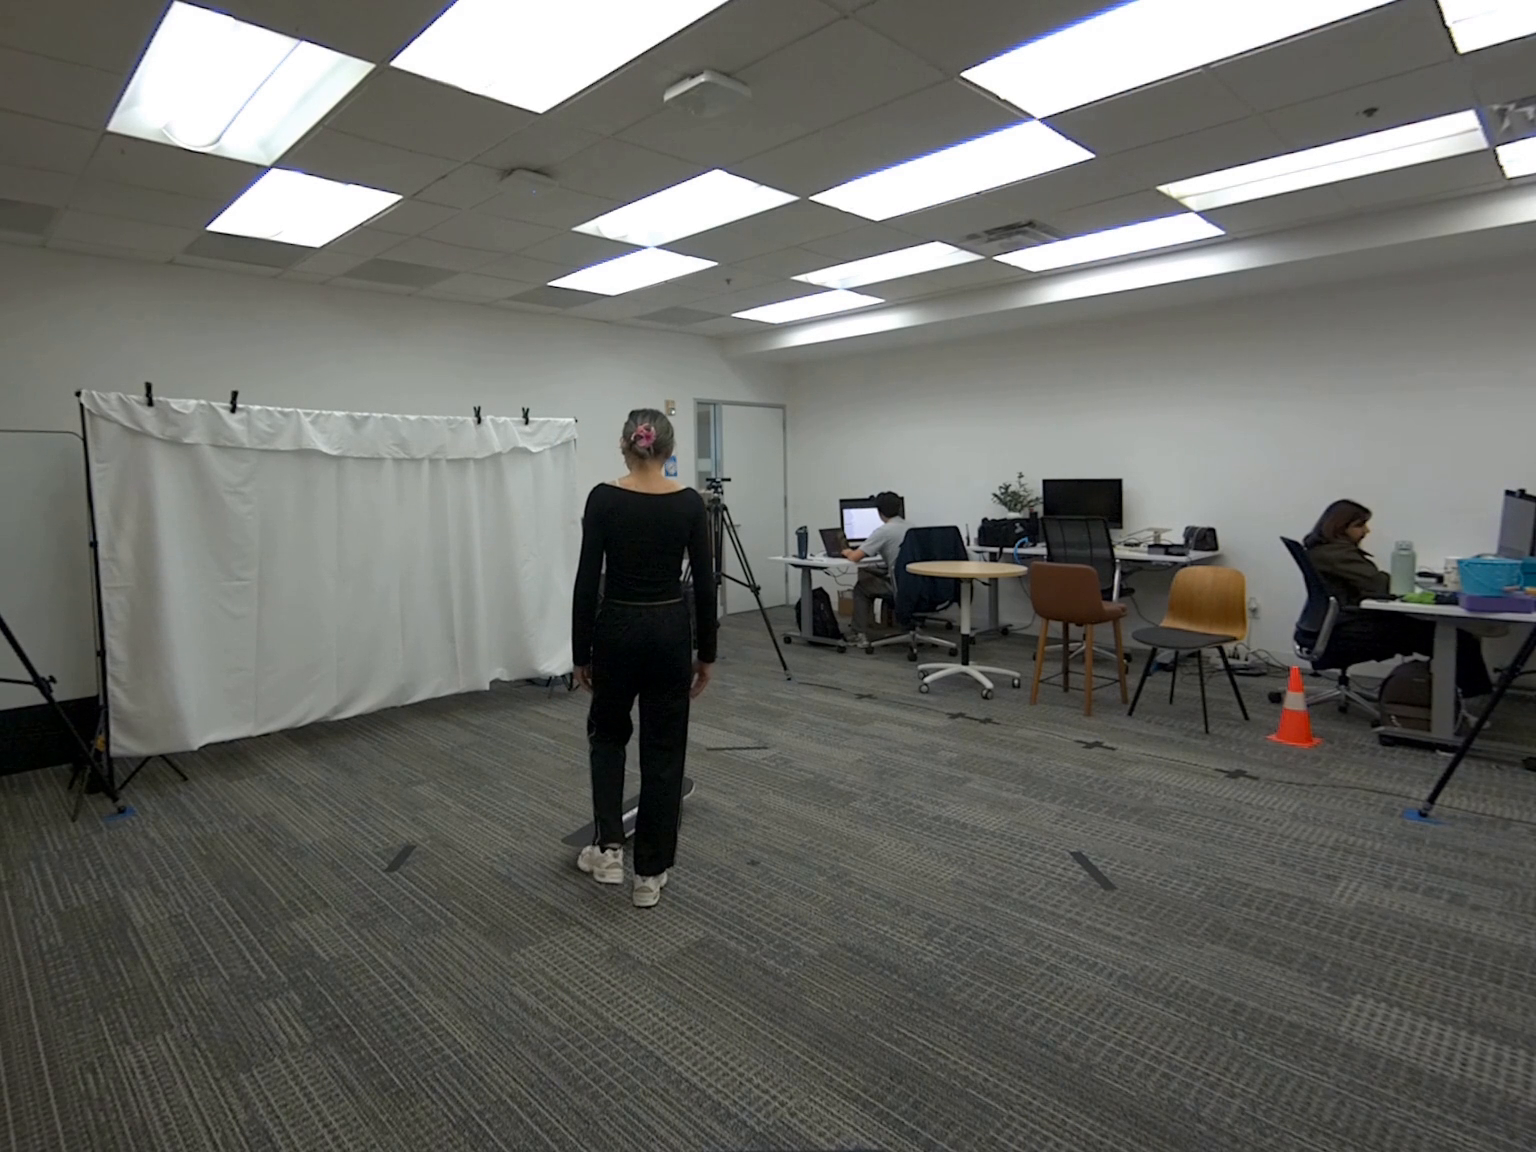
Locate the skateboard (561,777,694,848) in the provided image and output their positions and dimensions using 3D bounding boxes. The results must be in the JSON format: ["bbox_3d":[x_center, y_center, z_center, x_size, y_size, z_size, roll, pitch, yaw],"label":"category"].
[{"bbox_3d":[-0.525,0.962,3.369,0.198,0.110,0.770,2,7,25],"label":"skateboard"}]
